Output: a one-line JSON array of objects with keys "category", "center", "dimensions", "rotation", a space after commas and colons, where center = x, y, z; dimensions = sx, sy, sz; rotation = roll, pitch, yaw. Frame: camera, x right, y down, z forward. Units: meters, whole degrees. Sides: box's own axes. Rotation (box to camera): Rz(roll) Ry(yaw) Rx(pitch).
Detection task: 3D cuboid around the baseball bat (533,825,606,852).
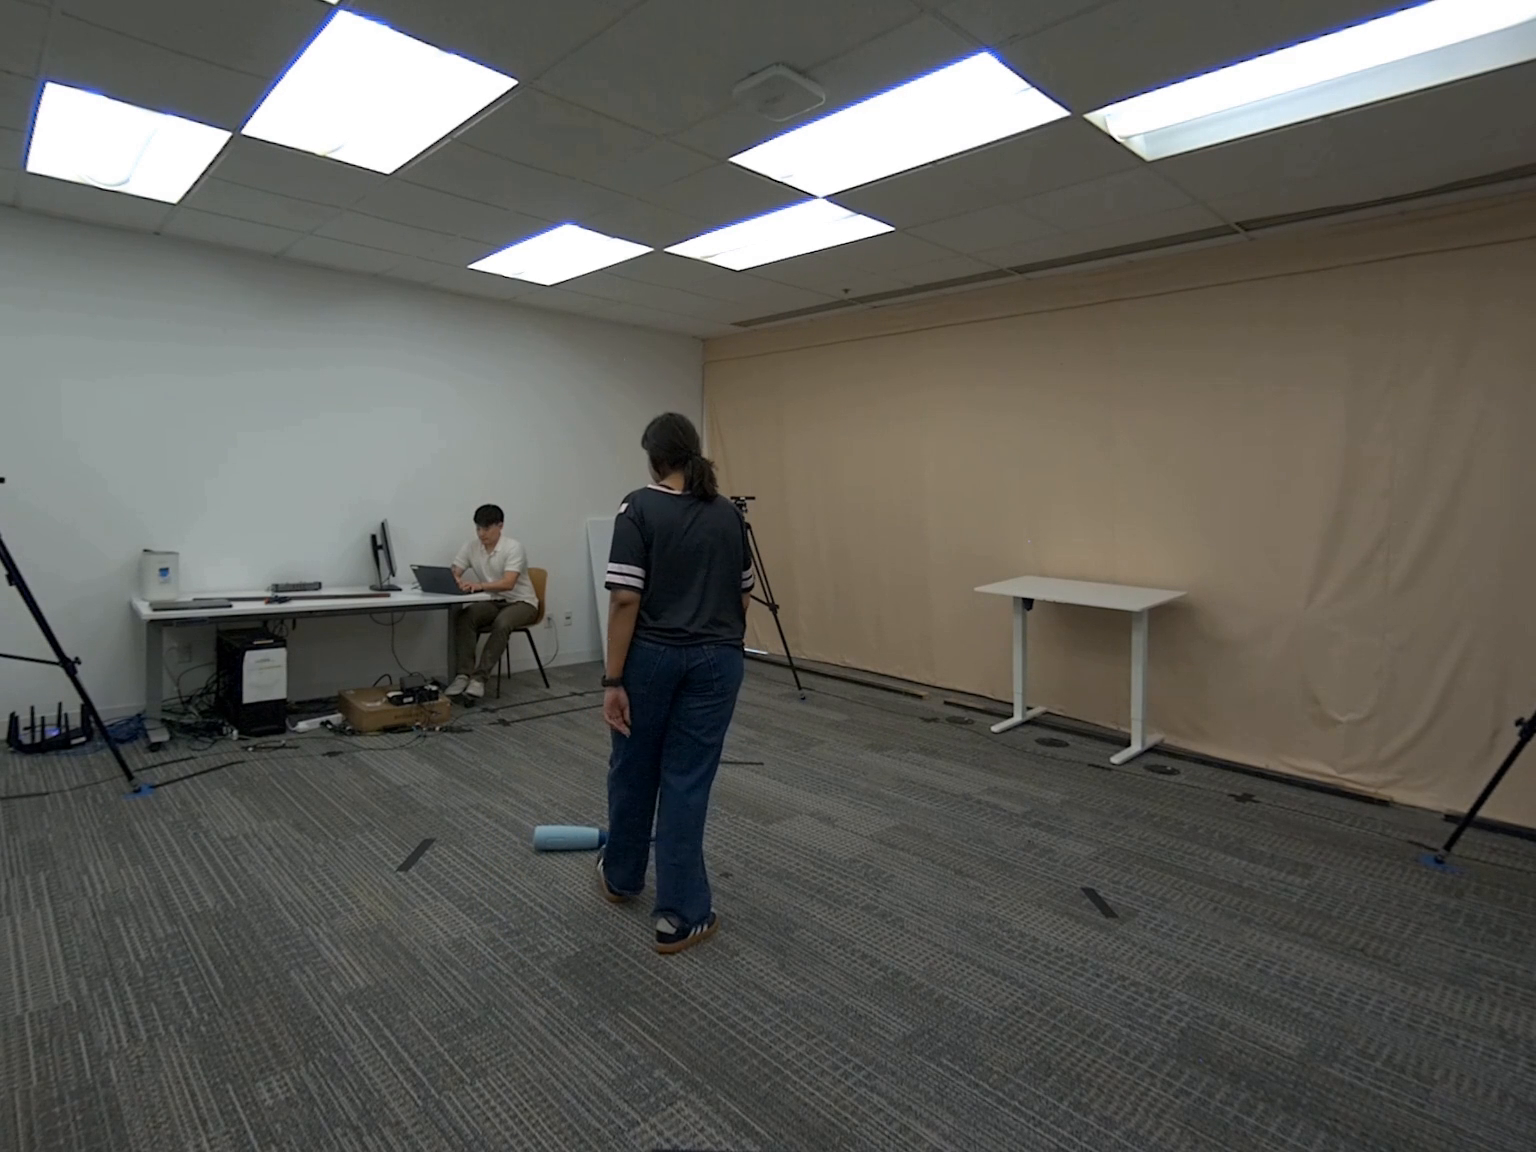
[{"category": "baseball bat", "center": [-0.658, 1.036, 3.322], "dimensions": [0.538, 0.089, 0.090], "rotation": [3, 4, -10]}]
